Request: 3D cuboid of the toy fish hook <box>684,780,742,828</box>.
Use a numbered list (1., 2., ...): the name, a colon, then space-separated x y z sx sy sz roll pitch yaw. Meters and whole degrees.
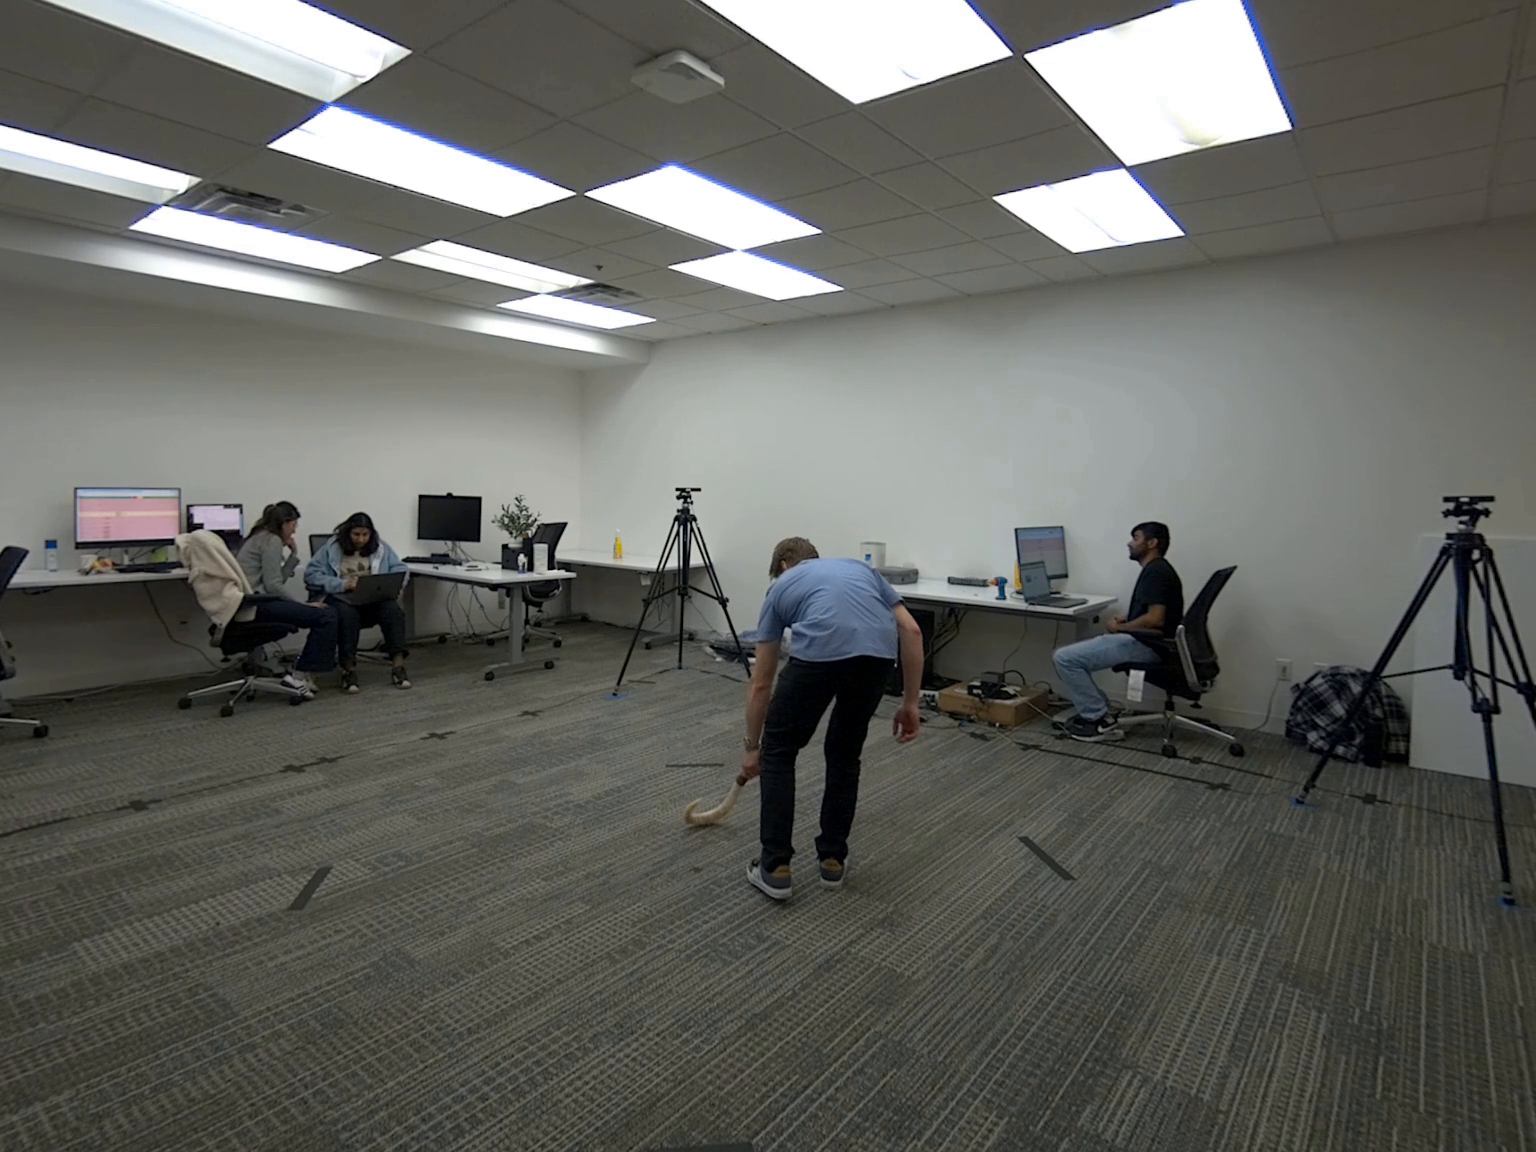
1. toy fish hook: -0.188 0.850 3.388 0.217 0.503 0.050 6 42 -38
